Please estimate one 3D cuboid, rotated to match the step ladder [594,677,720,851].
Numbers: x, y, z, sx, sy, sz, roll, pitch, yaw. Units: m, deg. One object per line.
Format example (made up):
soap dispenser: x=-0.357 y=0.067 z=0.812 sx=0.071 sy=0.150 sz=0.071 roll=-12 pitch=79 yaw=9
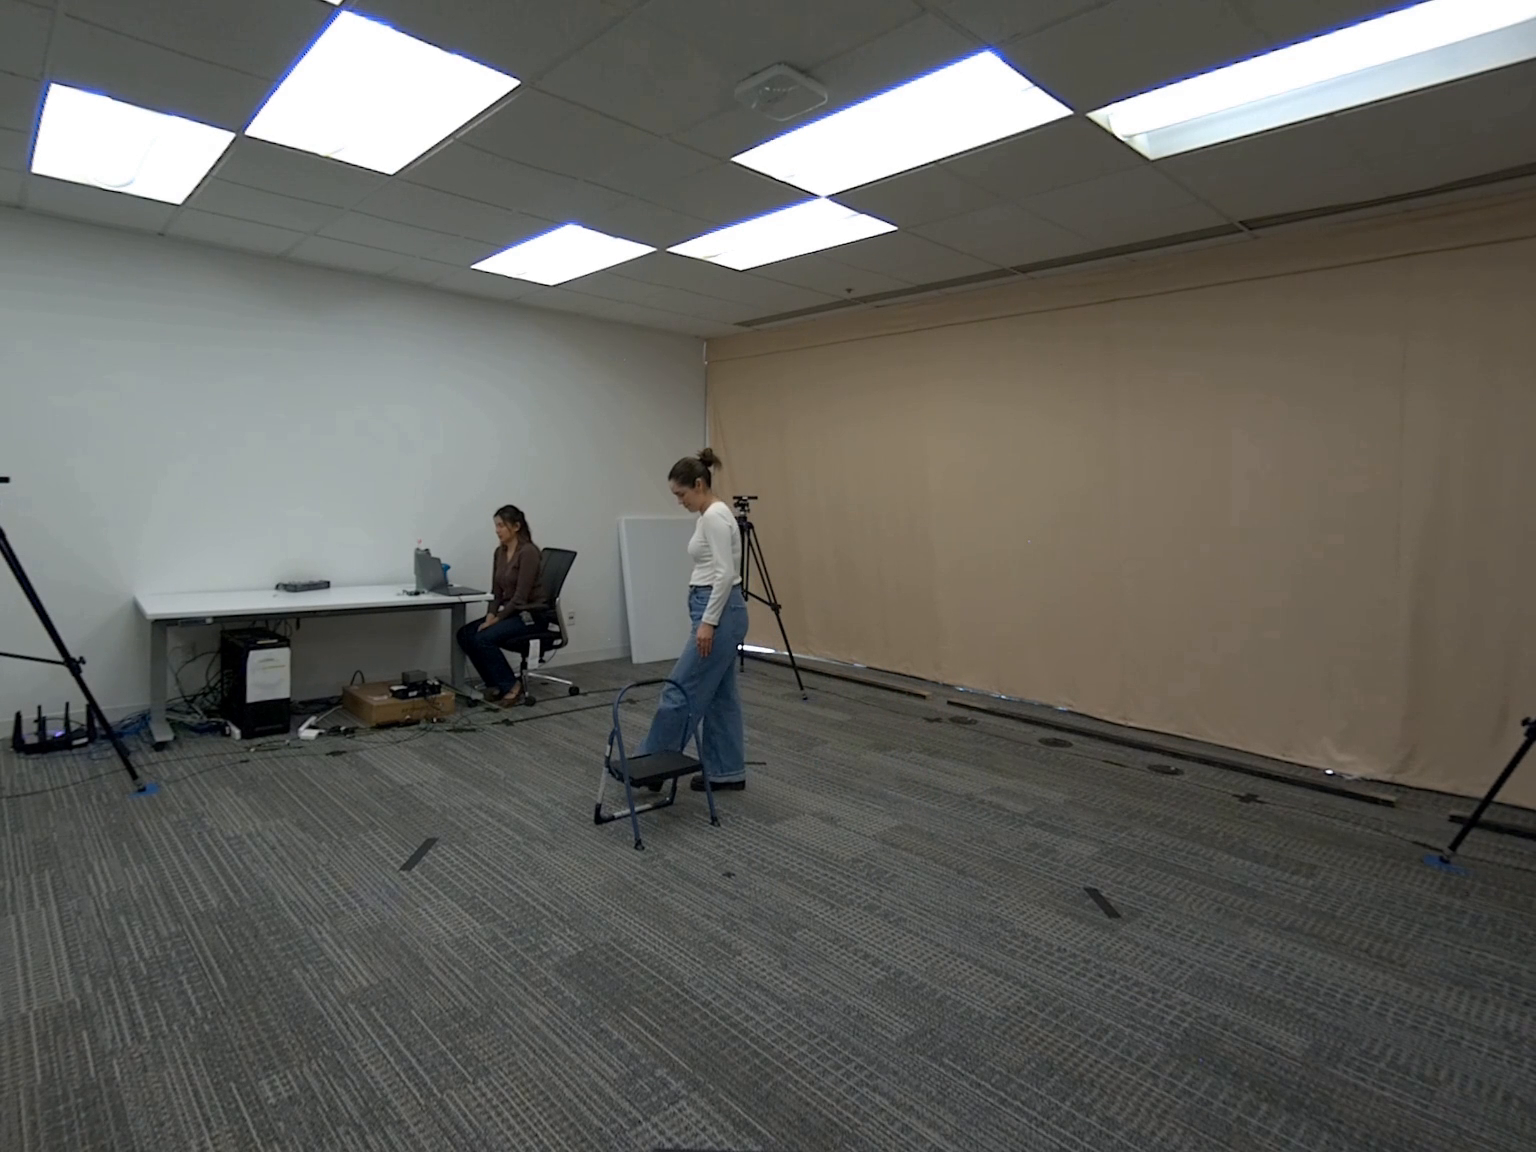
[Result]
step ladder: x=-0.474 y=0.757 z=3.550 sx=0.420 sy=0.605 sz=0.358 roll=-1 pitch=4 yaw=-44
